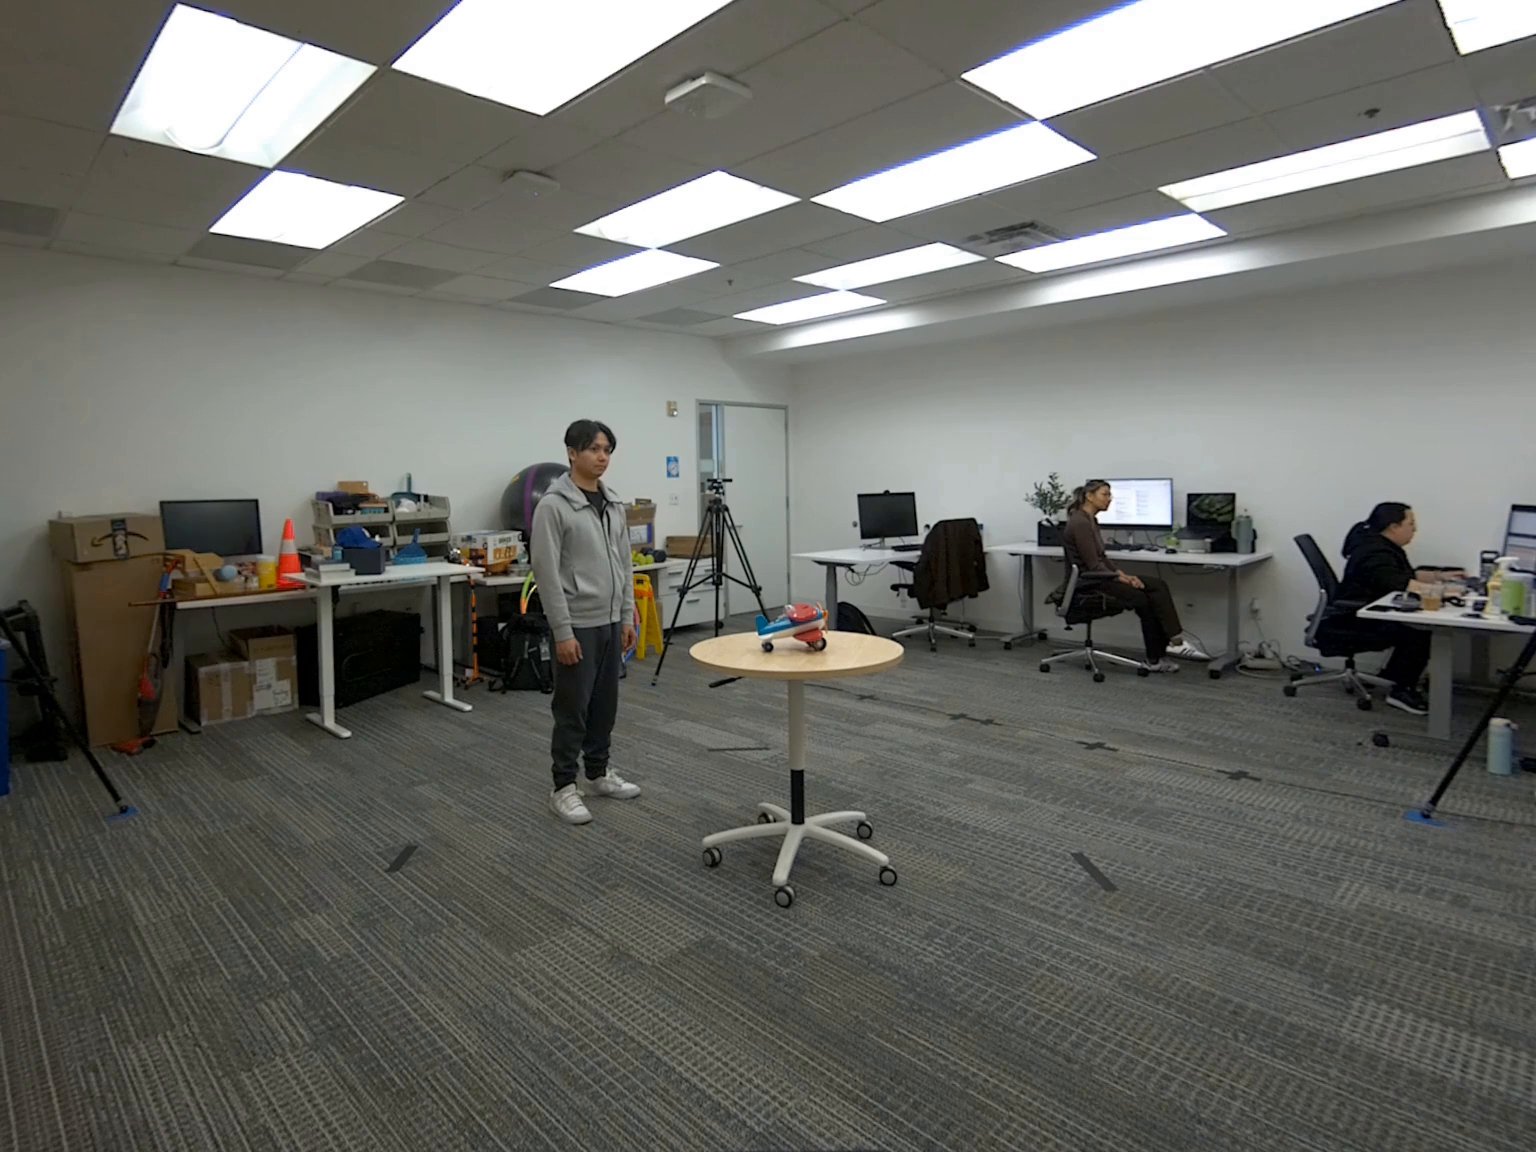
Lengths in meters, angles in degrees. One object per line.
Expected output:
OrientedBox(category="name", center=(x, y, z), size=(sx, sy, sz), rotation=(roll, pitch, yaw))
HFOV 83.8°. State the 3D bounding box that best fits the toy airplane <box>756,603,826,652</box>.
OrientedBox(category="toy airplane", center=(0.095, 0.189, 3.035), size=(0.252, 0.156, 0.259), rotation=(-5, 7, -37))
